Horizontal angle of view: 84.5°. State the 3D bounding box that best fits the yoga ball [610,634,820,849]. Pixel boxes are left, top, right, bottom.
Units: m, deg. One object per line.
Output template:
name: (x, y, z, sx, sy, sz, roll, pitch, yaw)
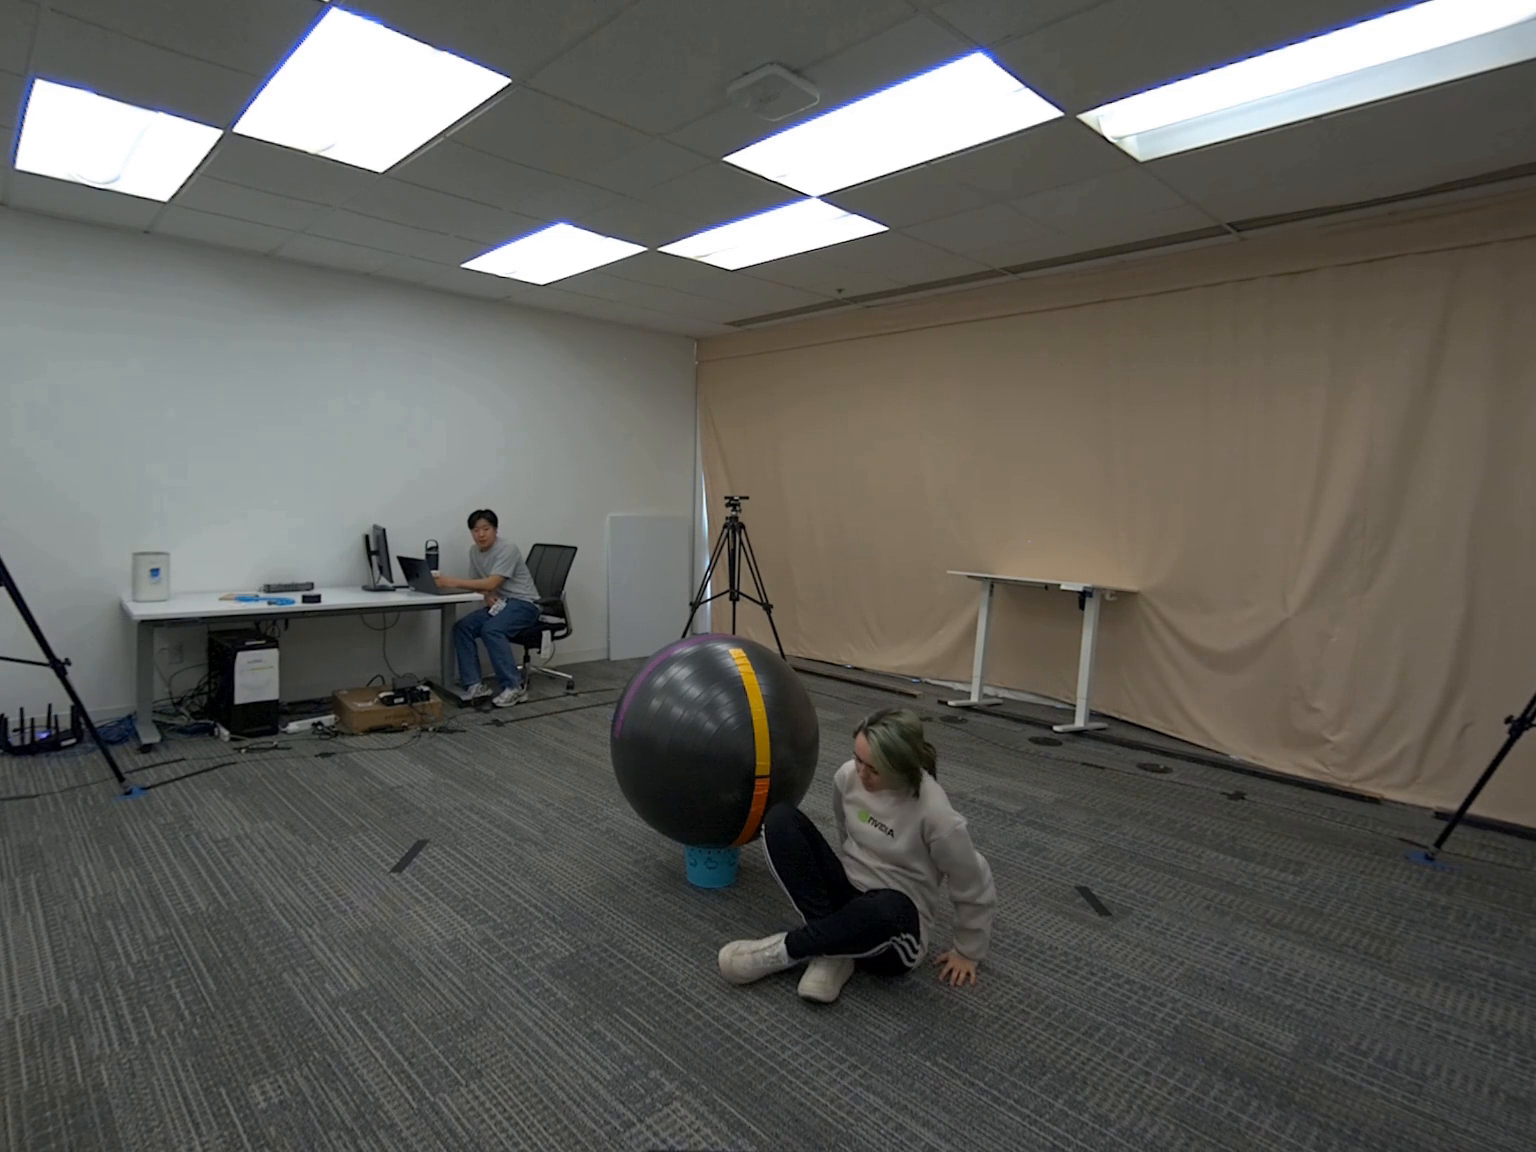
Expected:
yoga ball: (-0.197, 0.592, 3.064, 0.757, 0.756, 0.761, 1, 4, -1)
